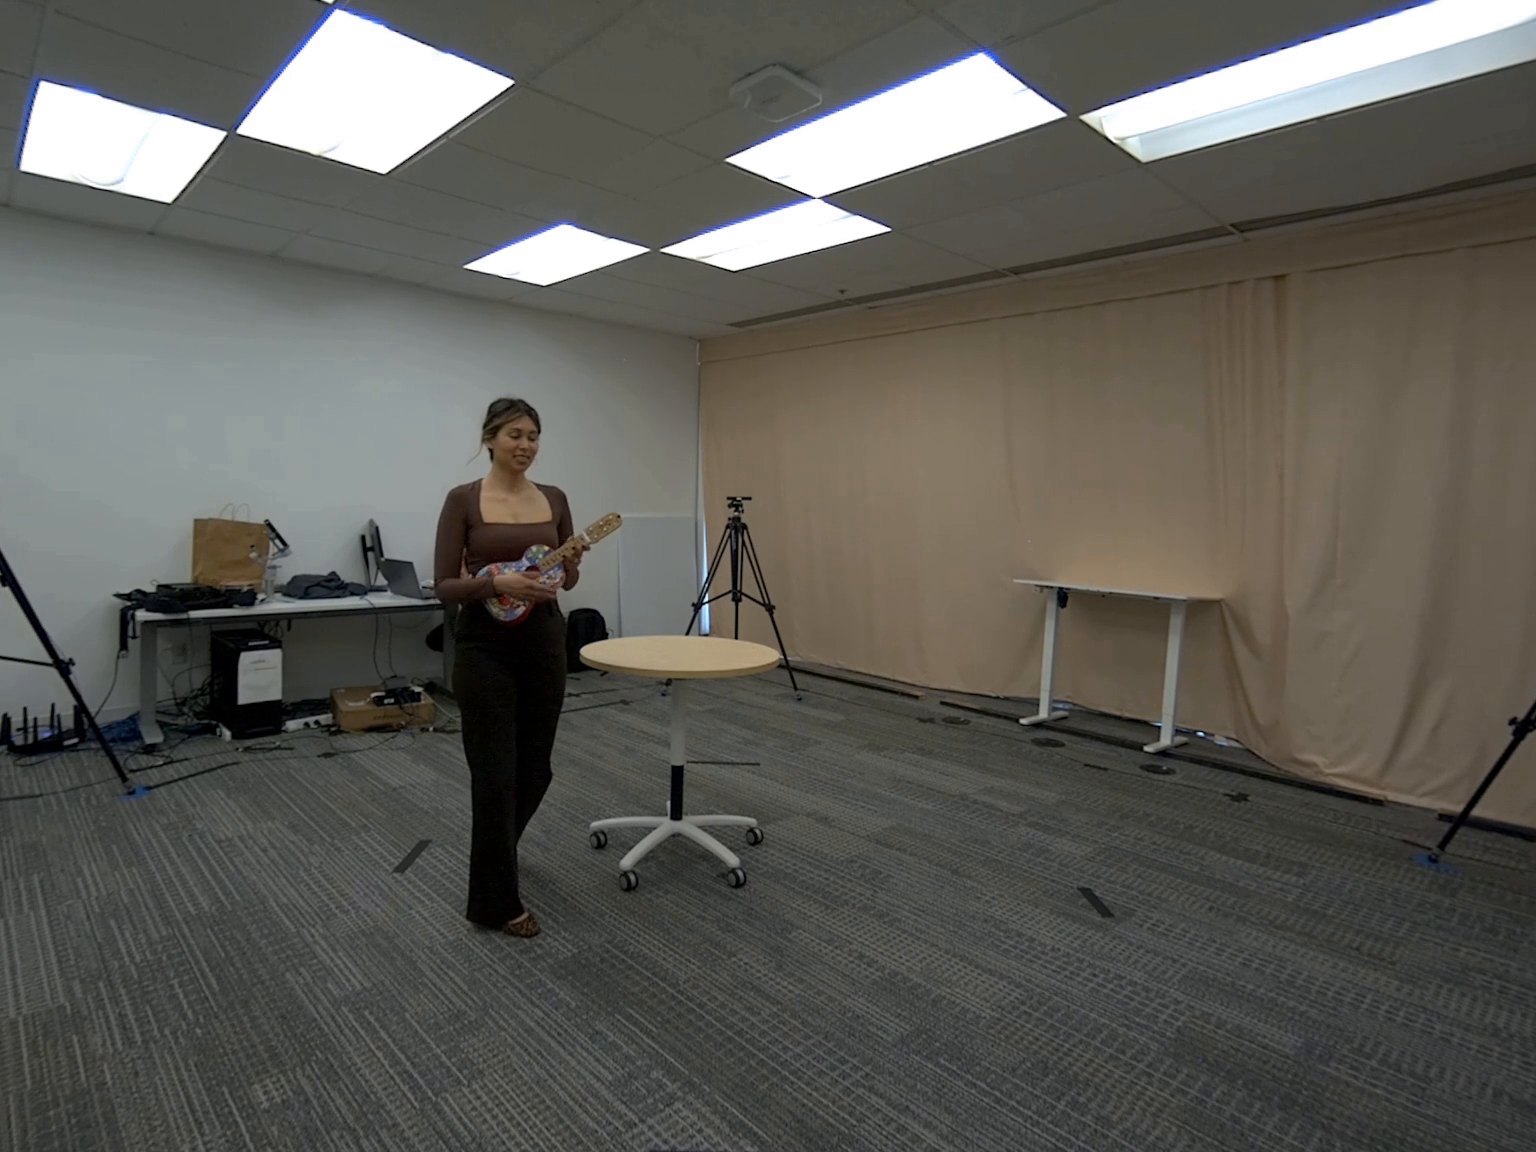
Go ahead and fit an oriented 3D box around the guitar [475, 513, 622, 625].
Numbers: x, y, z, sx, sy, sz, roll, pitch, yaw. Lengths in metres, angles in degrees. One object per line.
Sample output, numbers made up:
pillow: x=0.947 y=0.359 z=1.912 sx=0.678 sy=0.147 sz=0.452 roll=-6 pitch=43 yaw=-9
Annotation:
guitar: x=-0.671 y=-0.023 z=2.645 sx=0.495 sy=0.195 sz=0.070 roll=-26 pitch=-11 yaw=-12
